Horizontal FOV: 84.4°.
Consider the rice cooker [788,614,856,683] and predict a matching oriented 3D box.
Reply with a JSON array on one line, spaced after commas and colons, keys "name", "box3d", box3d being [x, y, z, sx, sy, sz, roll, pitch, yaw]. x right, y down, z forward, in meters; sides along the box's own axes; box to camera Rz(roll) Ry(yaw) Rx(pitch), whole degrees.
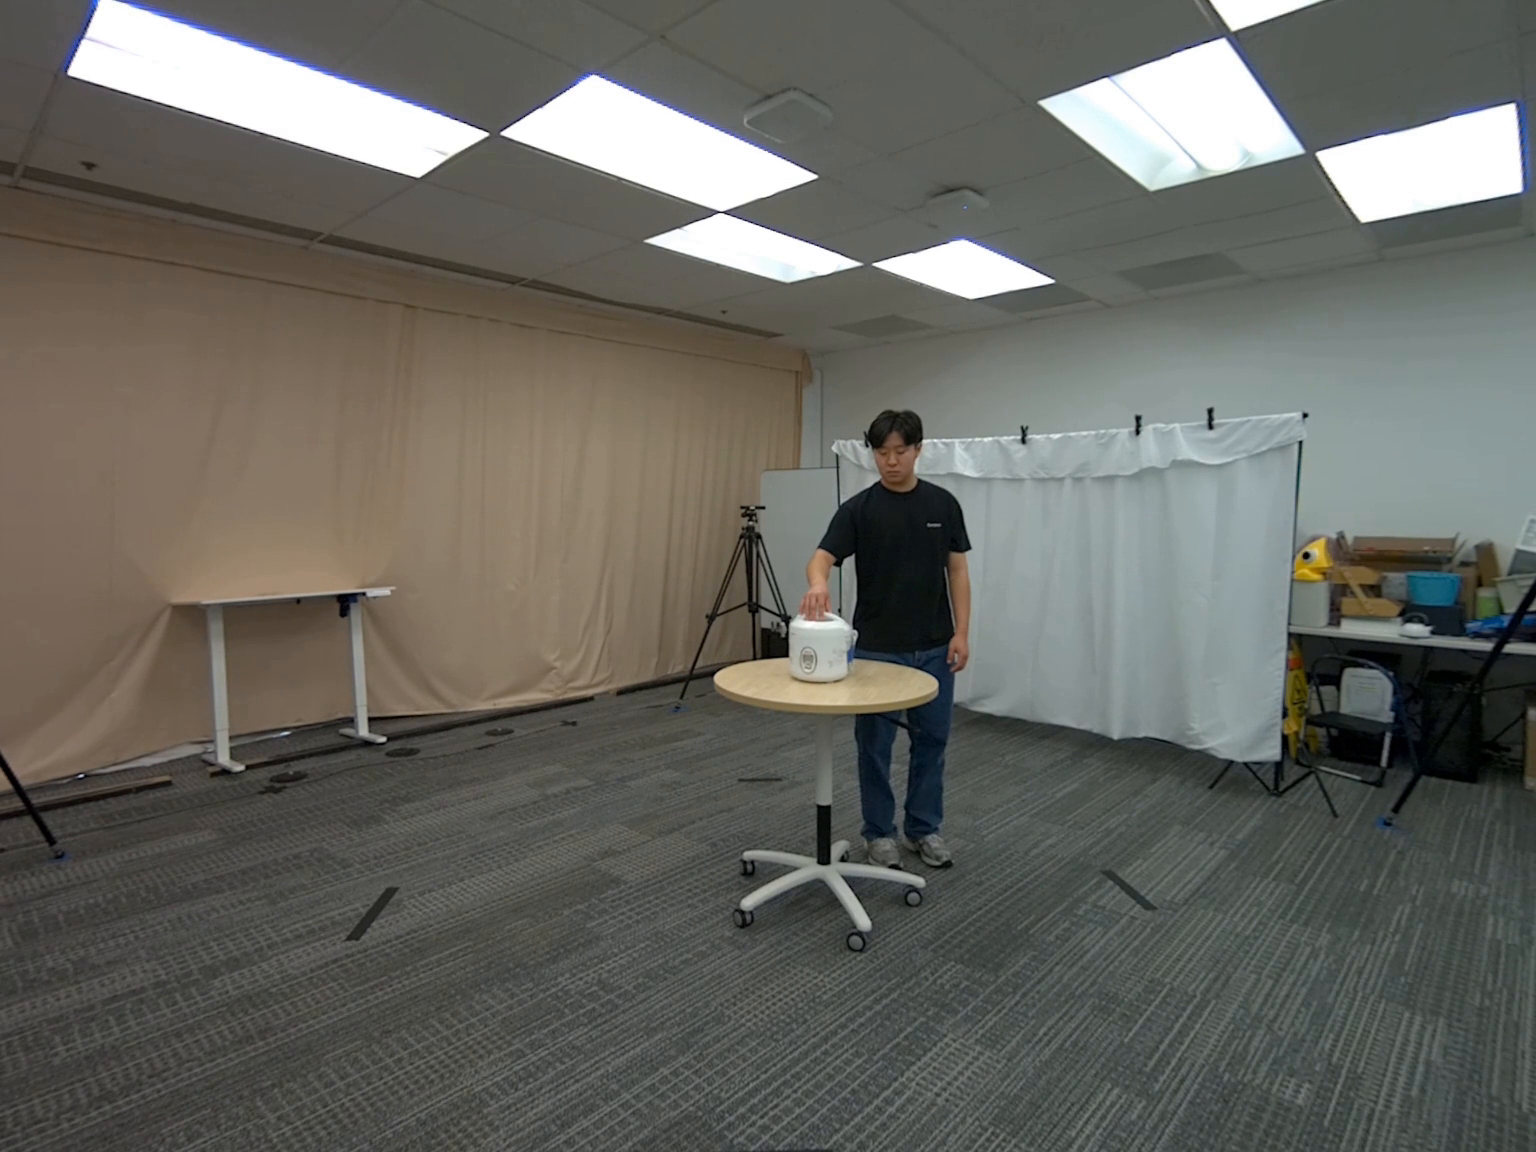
[{"name": "rice cooker", "box3d": [0.182, 0.237, 2.908, 0.226, 0.232, 0.212, 2, 3, 24]}]
